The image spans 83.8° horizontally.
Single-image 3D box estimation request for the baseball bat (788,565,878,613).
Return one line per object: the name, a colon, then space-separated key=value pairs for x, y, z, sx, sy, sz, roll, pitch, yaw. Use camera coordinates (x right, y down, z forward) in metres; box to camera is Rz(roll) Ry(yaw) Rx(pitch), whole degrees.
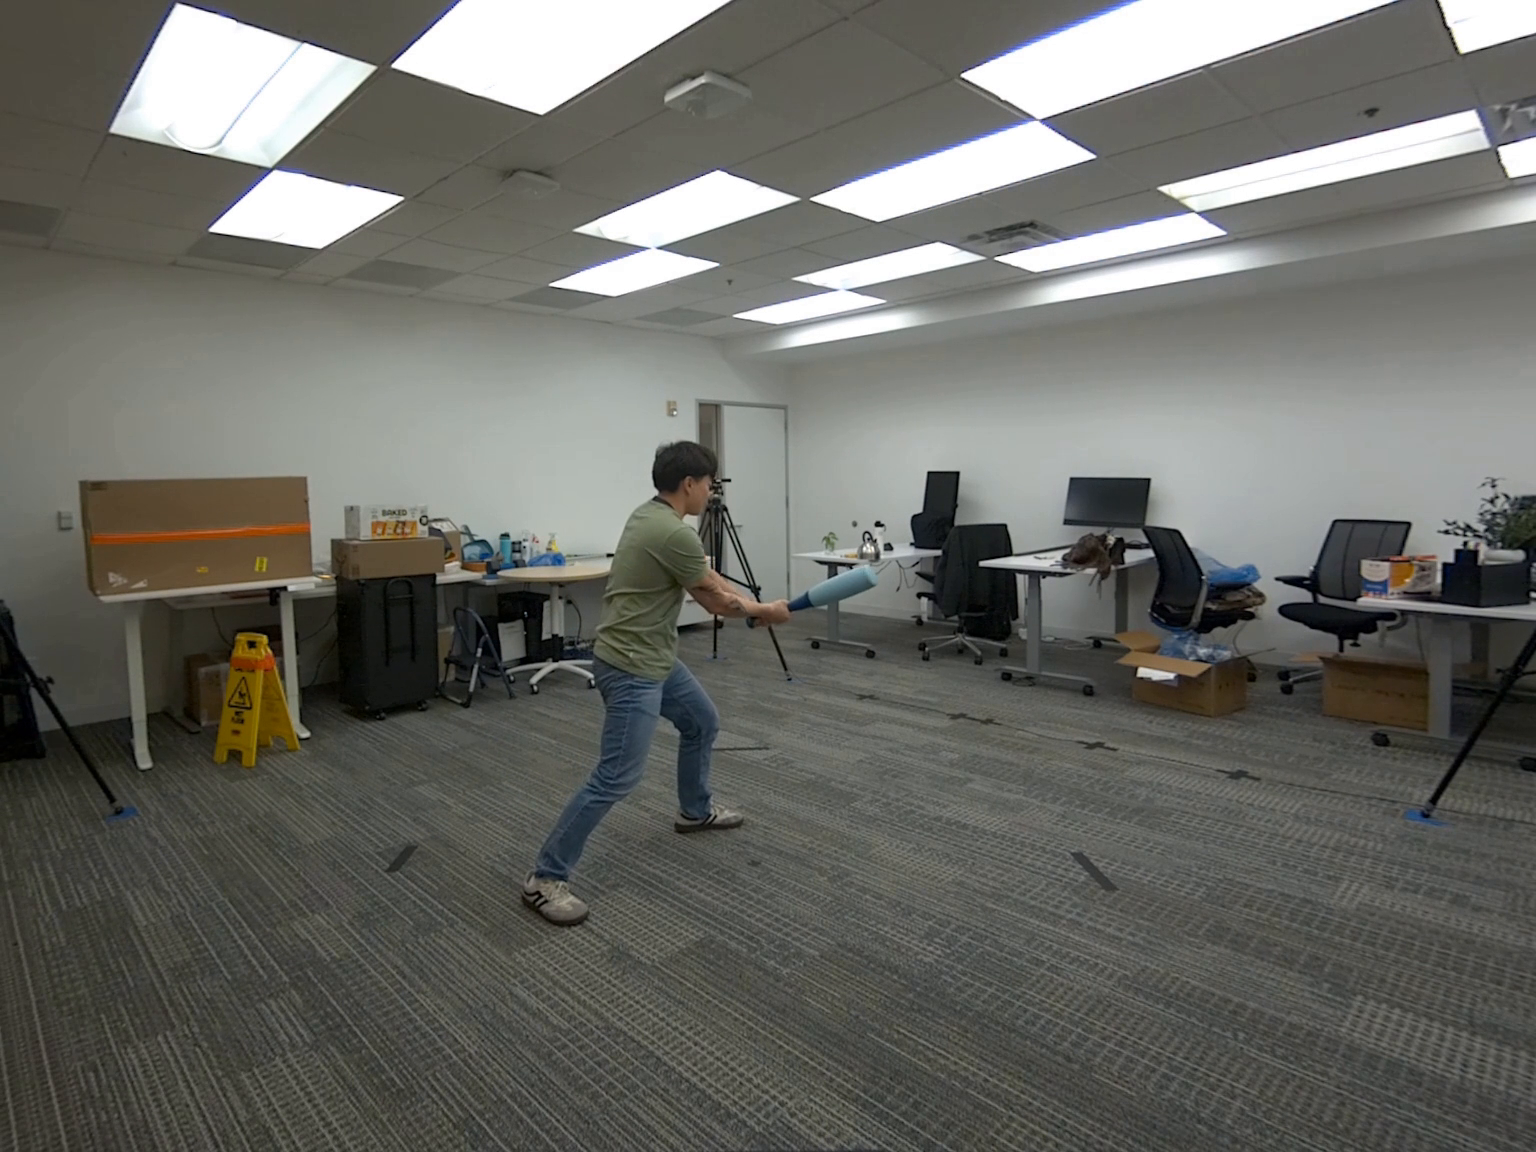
baseball bat: x=0.144 y=0.091 z=3.148 sx=0.550 sy=0.090 sz=0.087 roll=-22 pitch=-5 yaw=27
